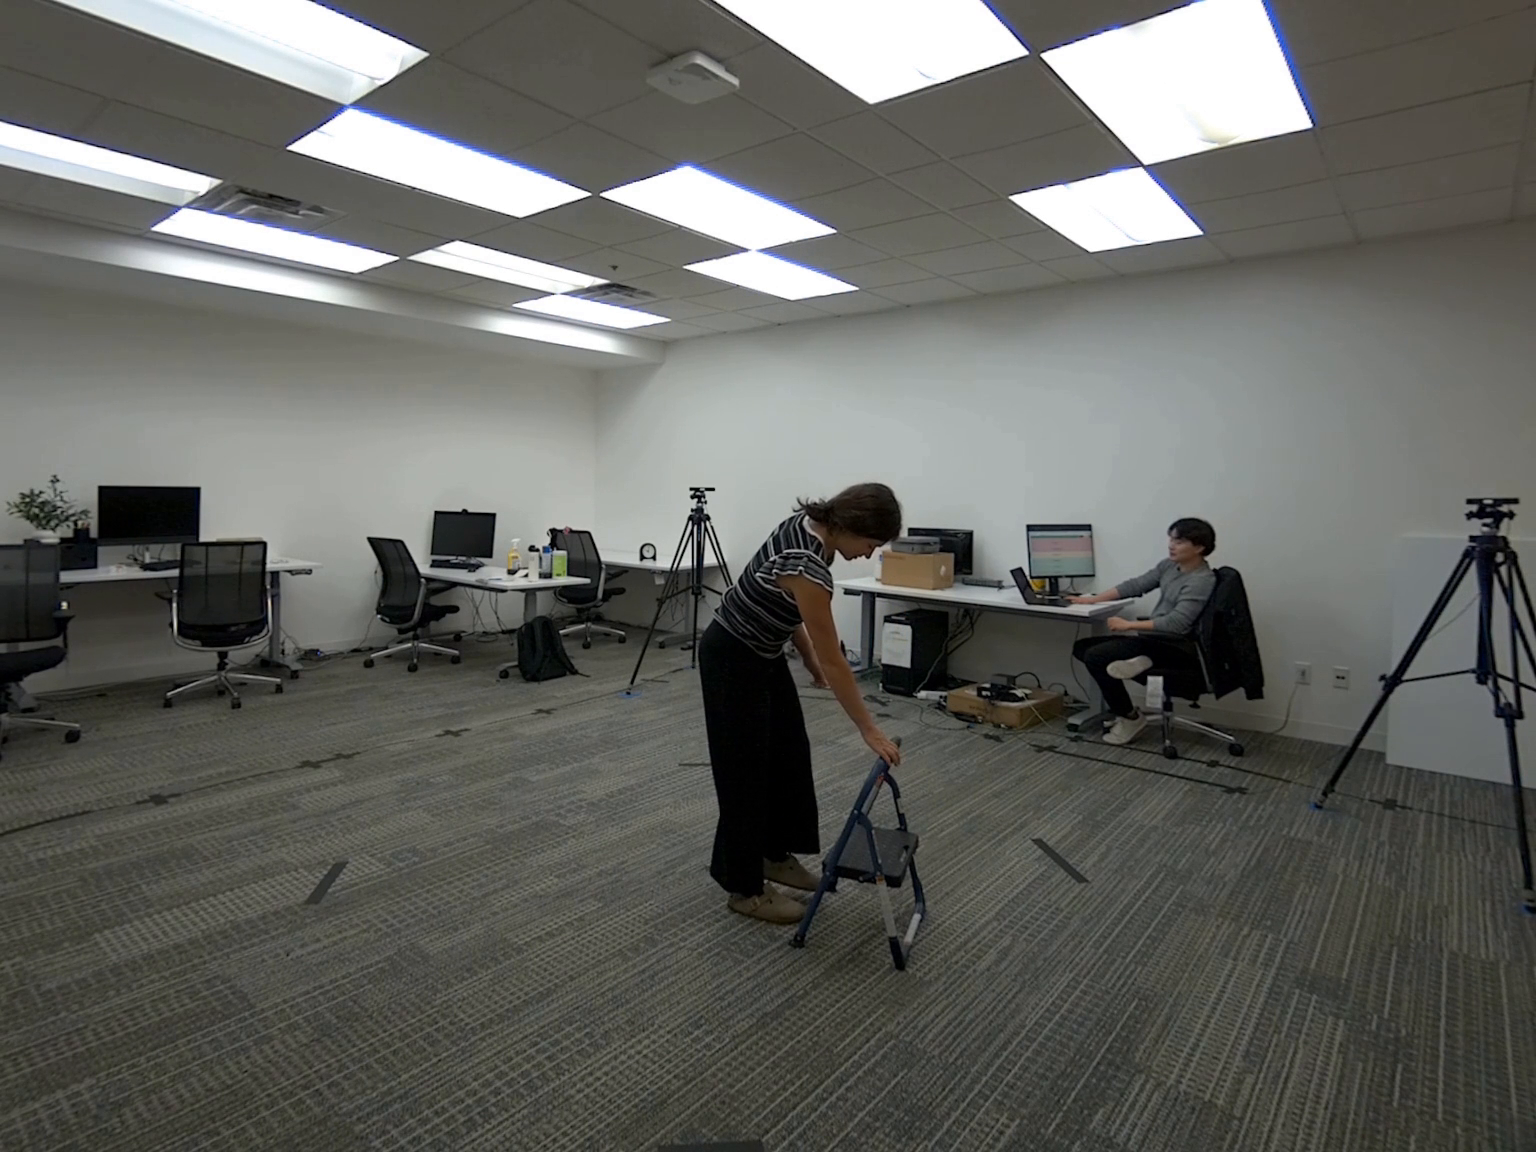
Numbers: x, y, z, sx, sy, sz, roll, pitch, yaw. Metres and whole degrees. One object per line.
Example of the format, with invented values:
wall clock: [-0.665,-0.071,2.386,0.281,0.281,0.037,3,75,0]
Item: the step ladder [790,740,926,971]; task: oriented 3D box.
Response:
step ladder: [0.302,0.816,2.703,0.357,0.604,0.422,3,4,20]
